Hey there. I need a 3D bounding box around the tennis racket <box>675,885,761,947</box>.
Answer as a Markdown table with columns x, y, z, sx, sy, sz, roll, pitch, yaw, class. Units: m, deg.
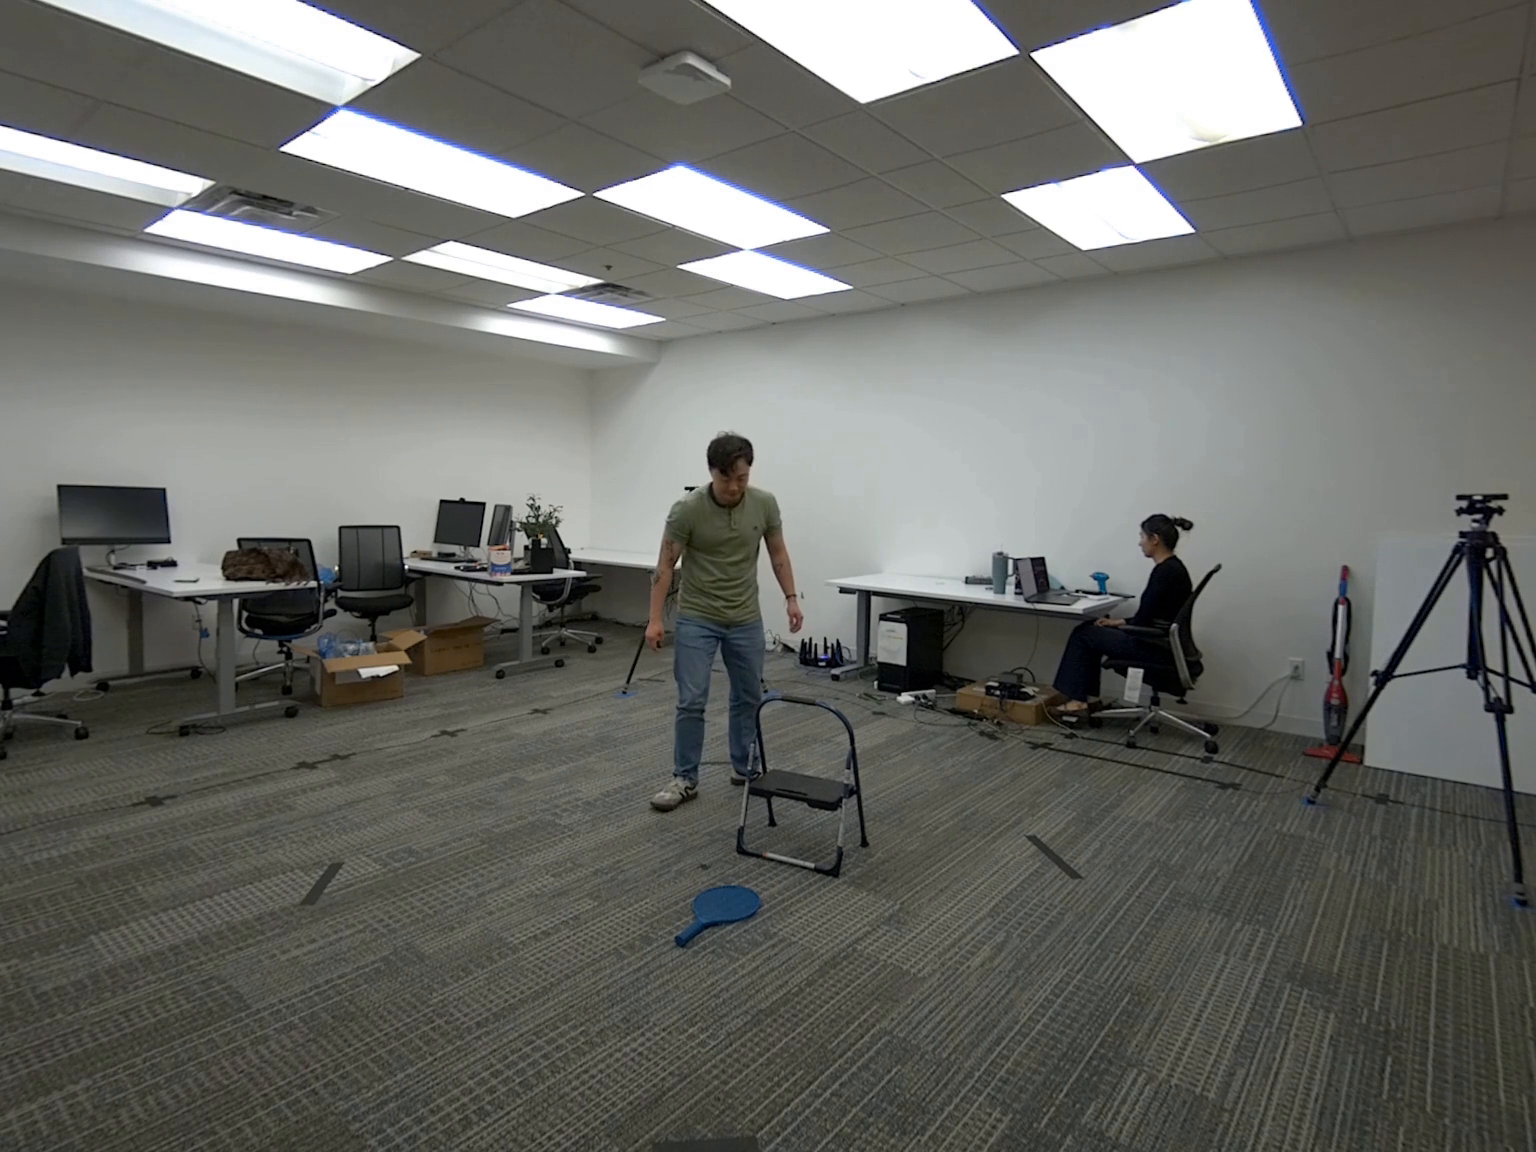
| x | y | z | sx | sy | sz | roll | pitch | yaw | class |
| --- | --- | --- | --- | --- | --- | --- | --- | --- | --- |
| -0.177 | 1.086 | 2.755 | 0.219 | 0.031 | 0.422 | 3 | 5 | 26 | tennis racket |
